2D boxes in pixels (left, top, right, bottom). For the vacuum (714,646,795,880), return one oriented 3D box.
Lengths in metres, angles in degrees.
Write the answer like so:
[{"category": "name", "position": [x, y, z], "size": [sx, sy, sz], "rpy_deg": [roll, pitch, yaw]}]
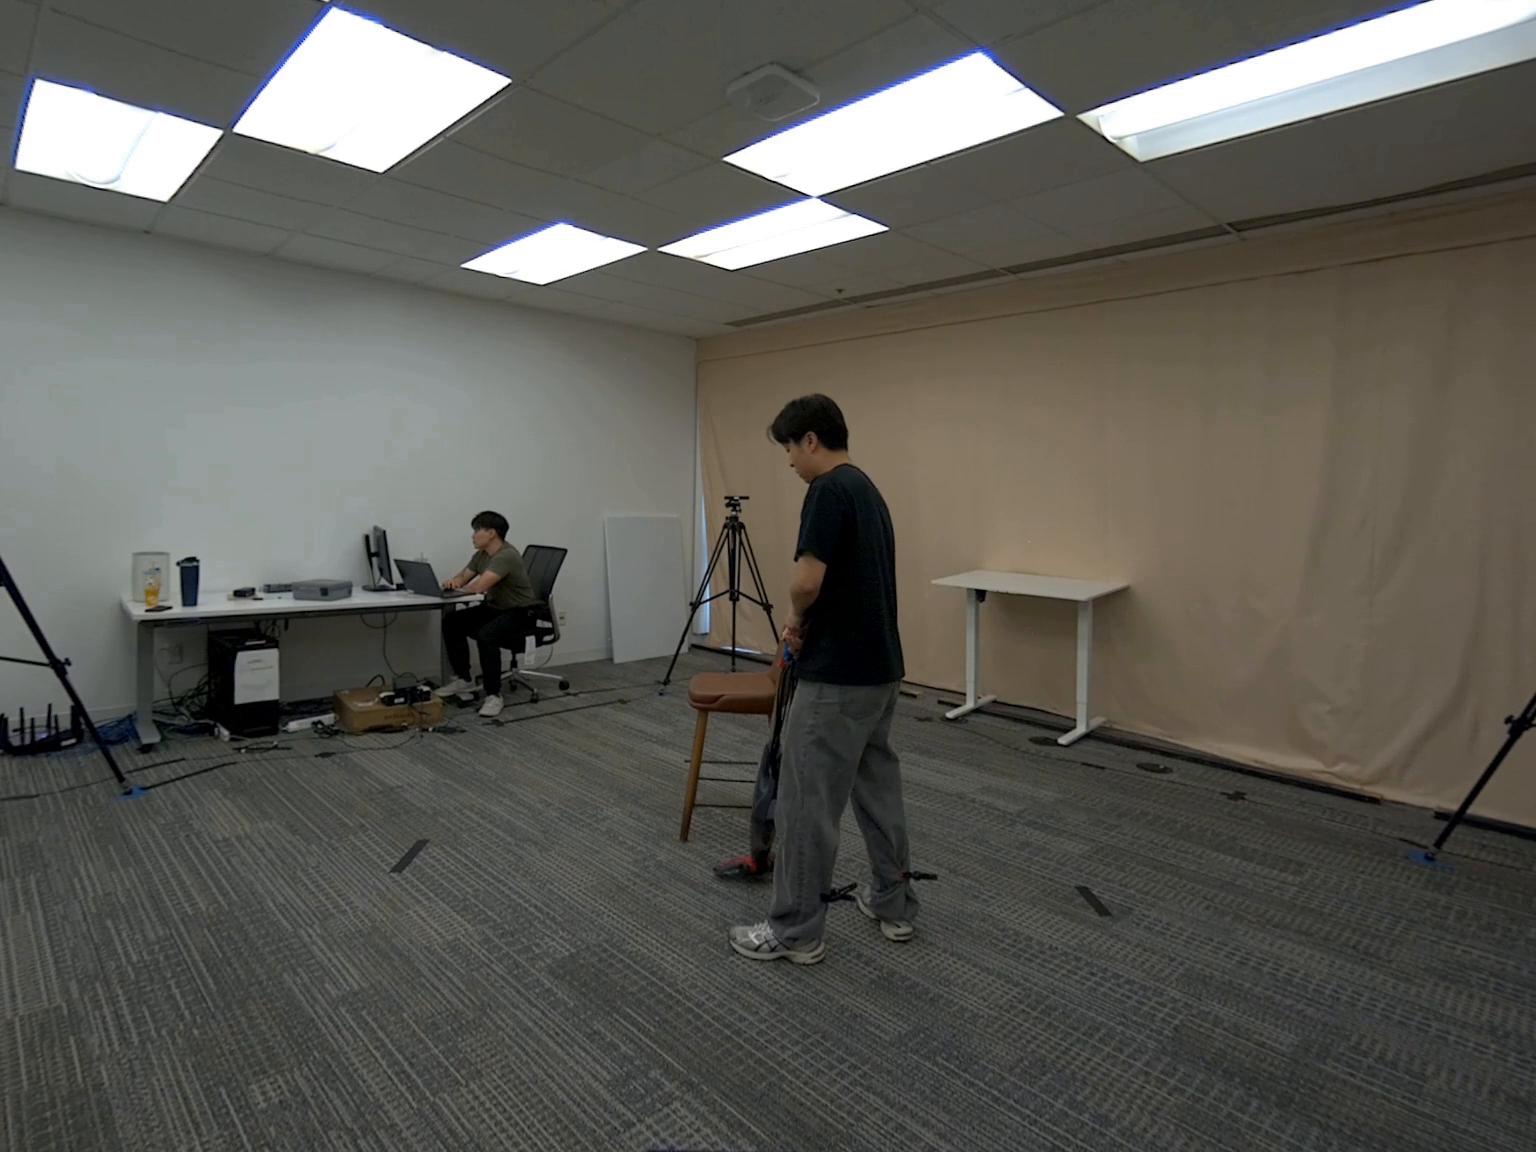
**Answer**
[{"category": "vacuum", "position": [0.016, 0.614, 2.898], "size": [0.247, 1.037, 0.148], "rpy_deg": [-3, 23, -31]}]
